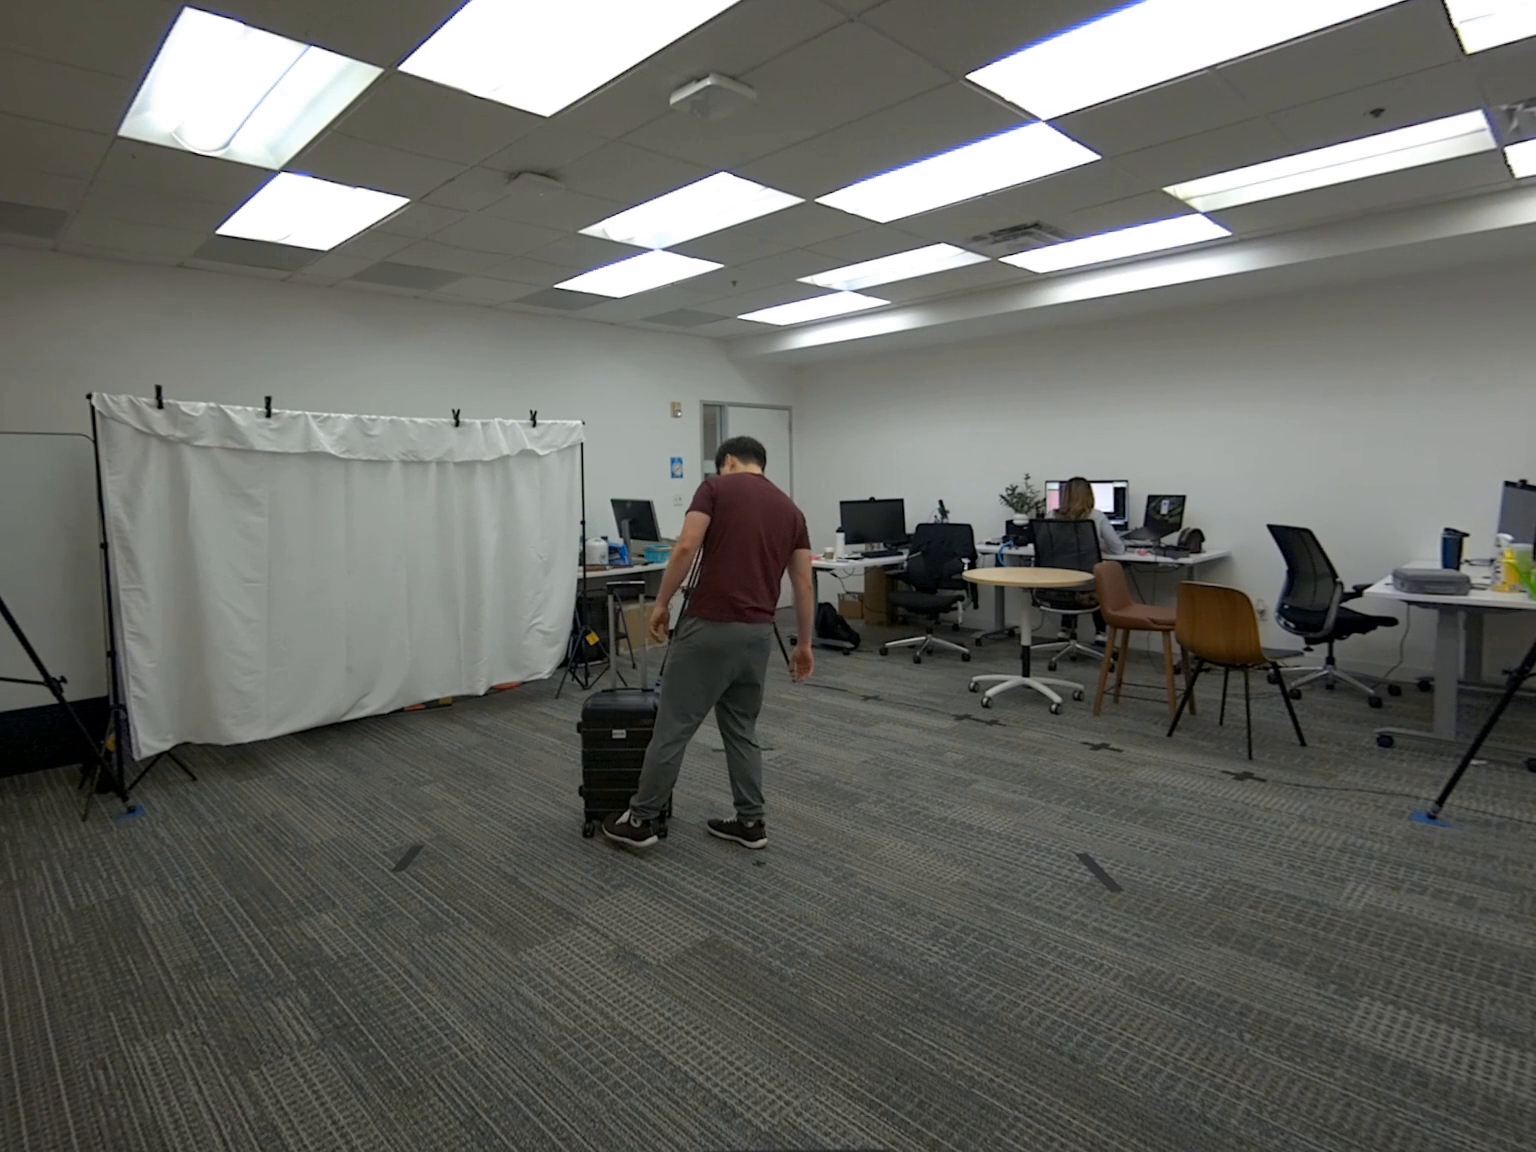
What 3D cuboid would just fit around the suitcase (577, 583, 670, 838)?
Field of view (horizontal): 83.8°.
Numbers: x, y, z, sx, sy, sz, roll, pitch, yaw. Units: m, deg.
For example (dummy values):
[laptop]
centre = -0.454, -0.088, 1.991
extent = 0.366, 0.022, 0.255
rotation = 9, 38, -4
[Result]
[suitcase]
centre = -0.577, 0.541, 3.473
extent = 0.385, 0.975, 0.257
rotation = -2, 3, 3
